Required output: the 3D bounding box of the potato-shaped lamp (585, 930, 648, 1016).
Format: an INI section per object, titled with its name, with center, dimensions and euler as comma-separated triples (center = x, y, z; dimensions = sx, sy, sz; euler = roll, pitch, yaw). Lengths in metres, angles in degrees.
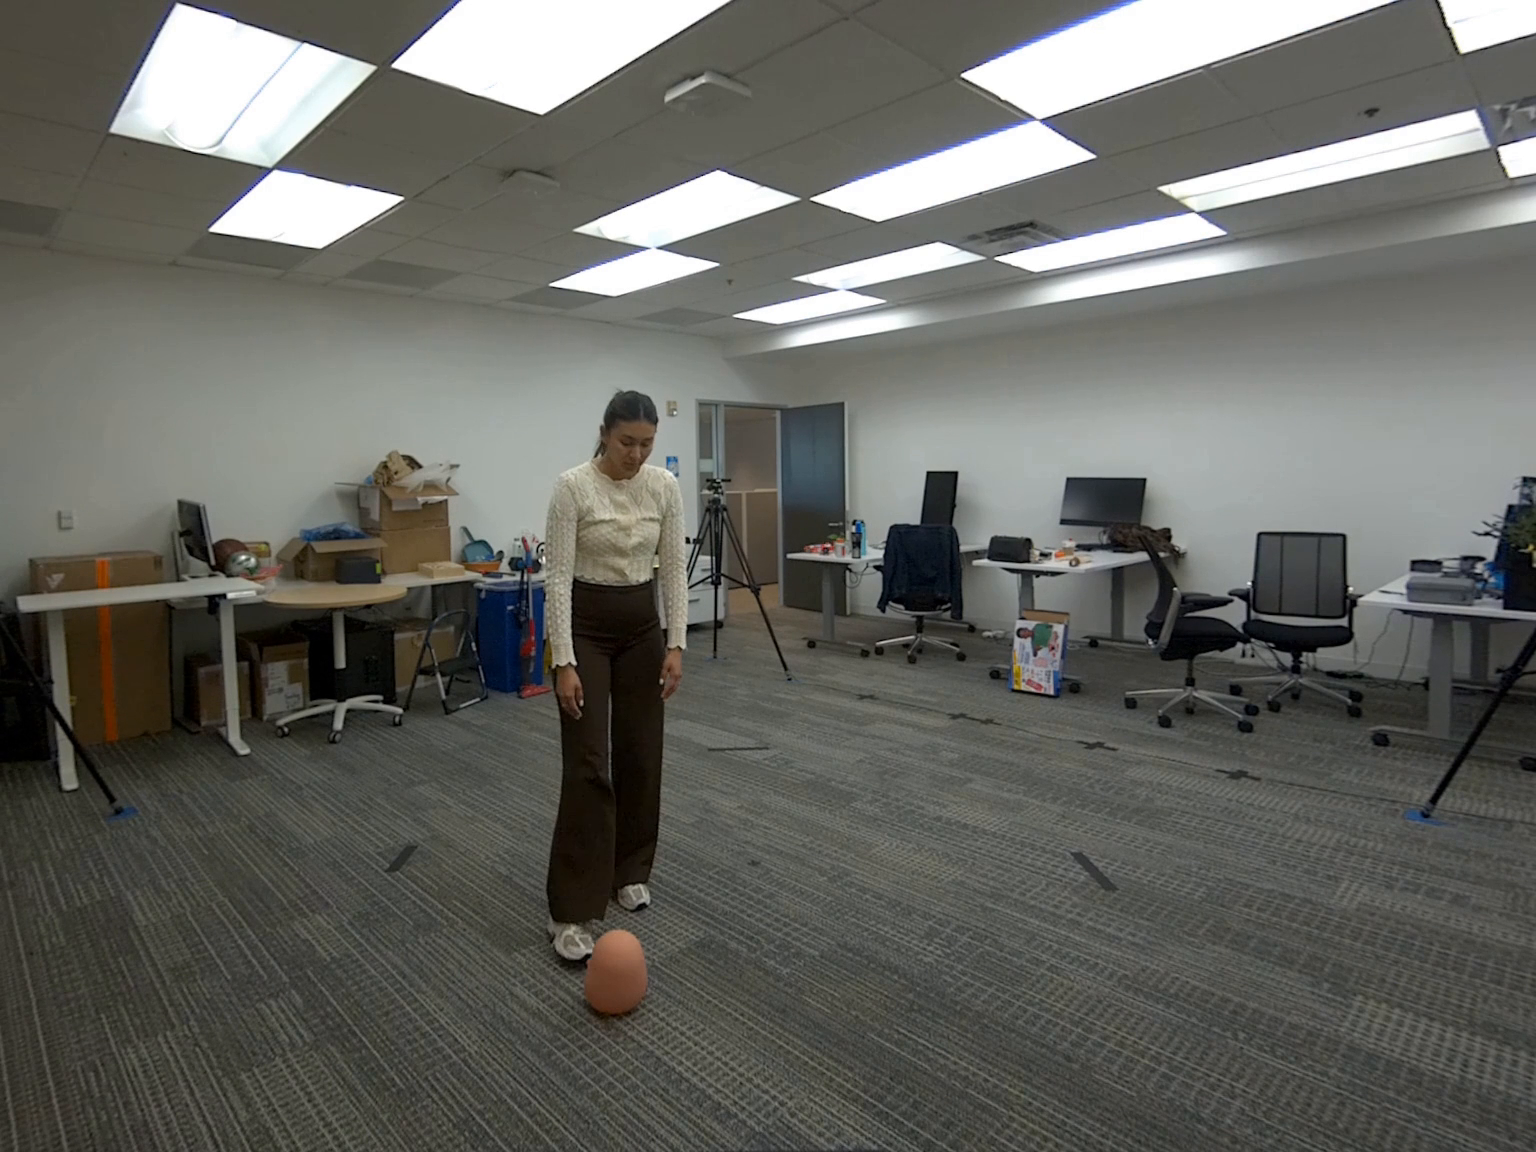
[potato-shaped lamp]
center = -0.400, 1.049, 2.287
dimensions = 0.160, 0.198, 0.176
euler = -2, 4, -33
